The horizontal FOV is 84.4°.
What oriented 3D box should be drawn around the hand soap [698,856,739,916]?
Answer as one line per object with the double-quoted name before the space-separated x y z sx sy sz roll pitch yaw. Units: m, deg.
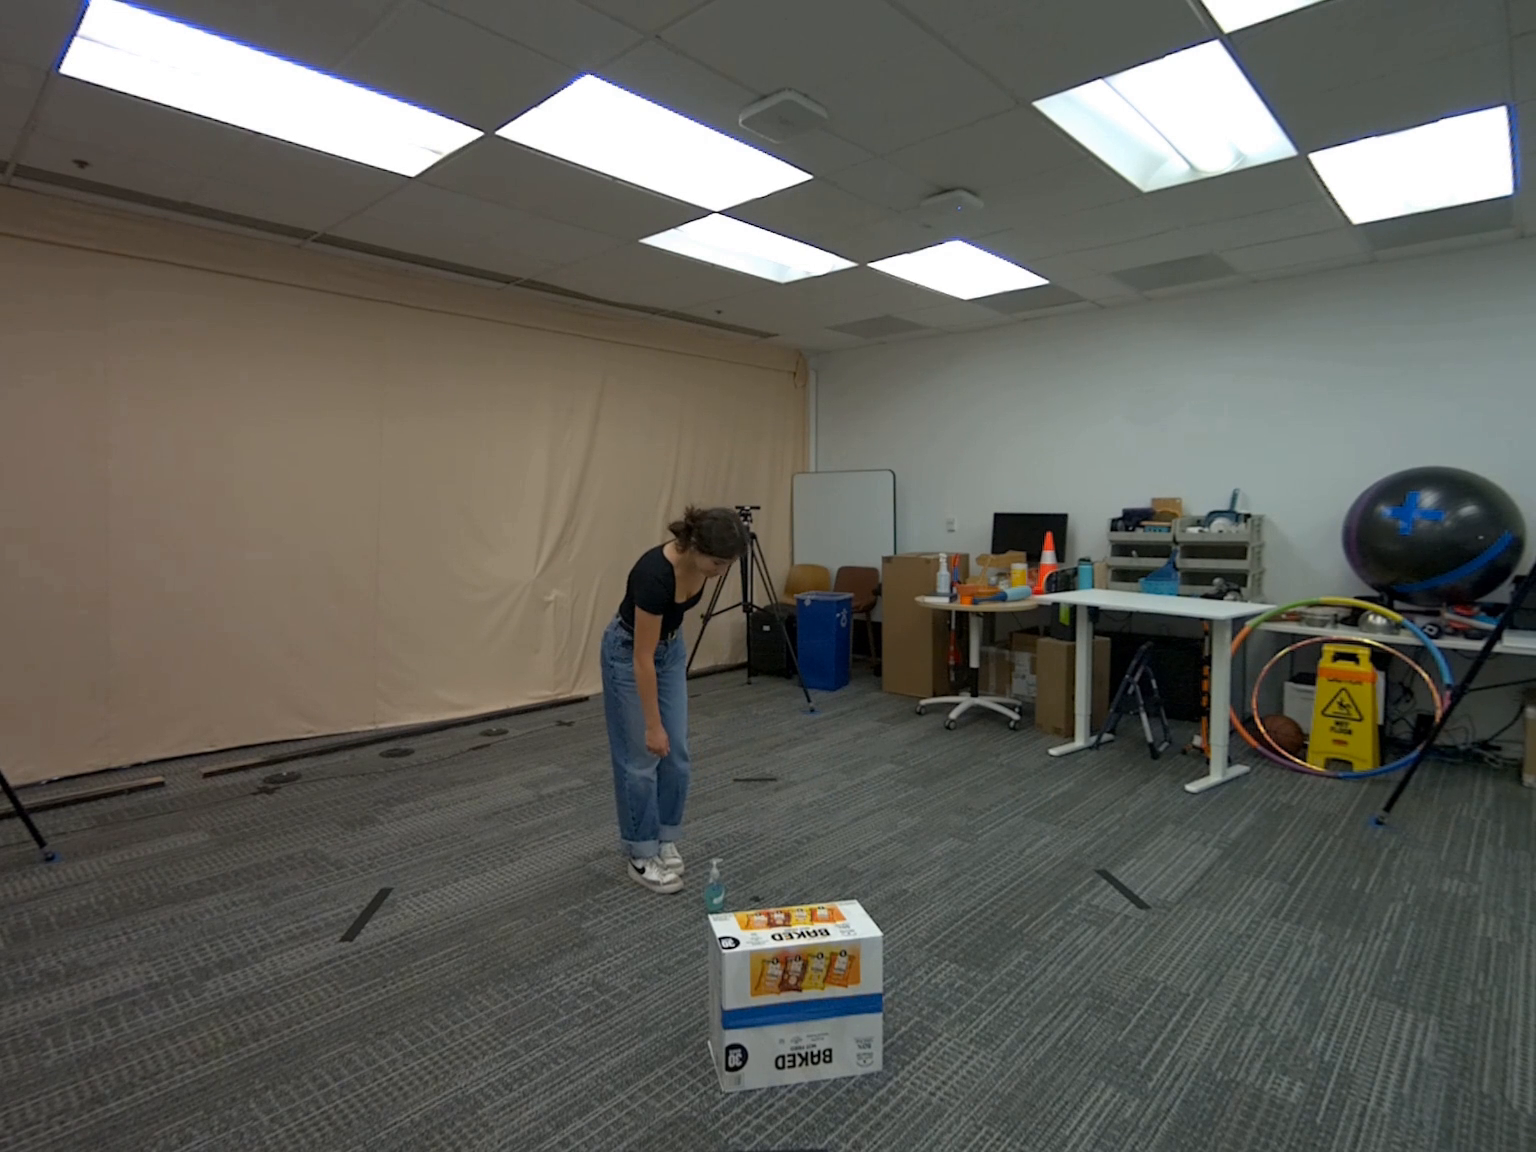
"hand soap" -0.180 1.071 2.910 0.082 0.168 0.045 -5 2 -39
